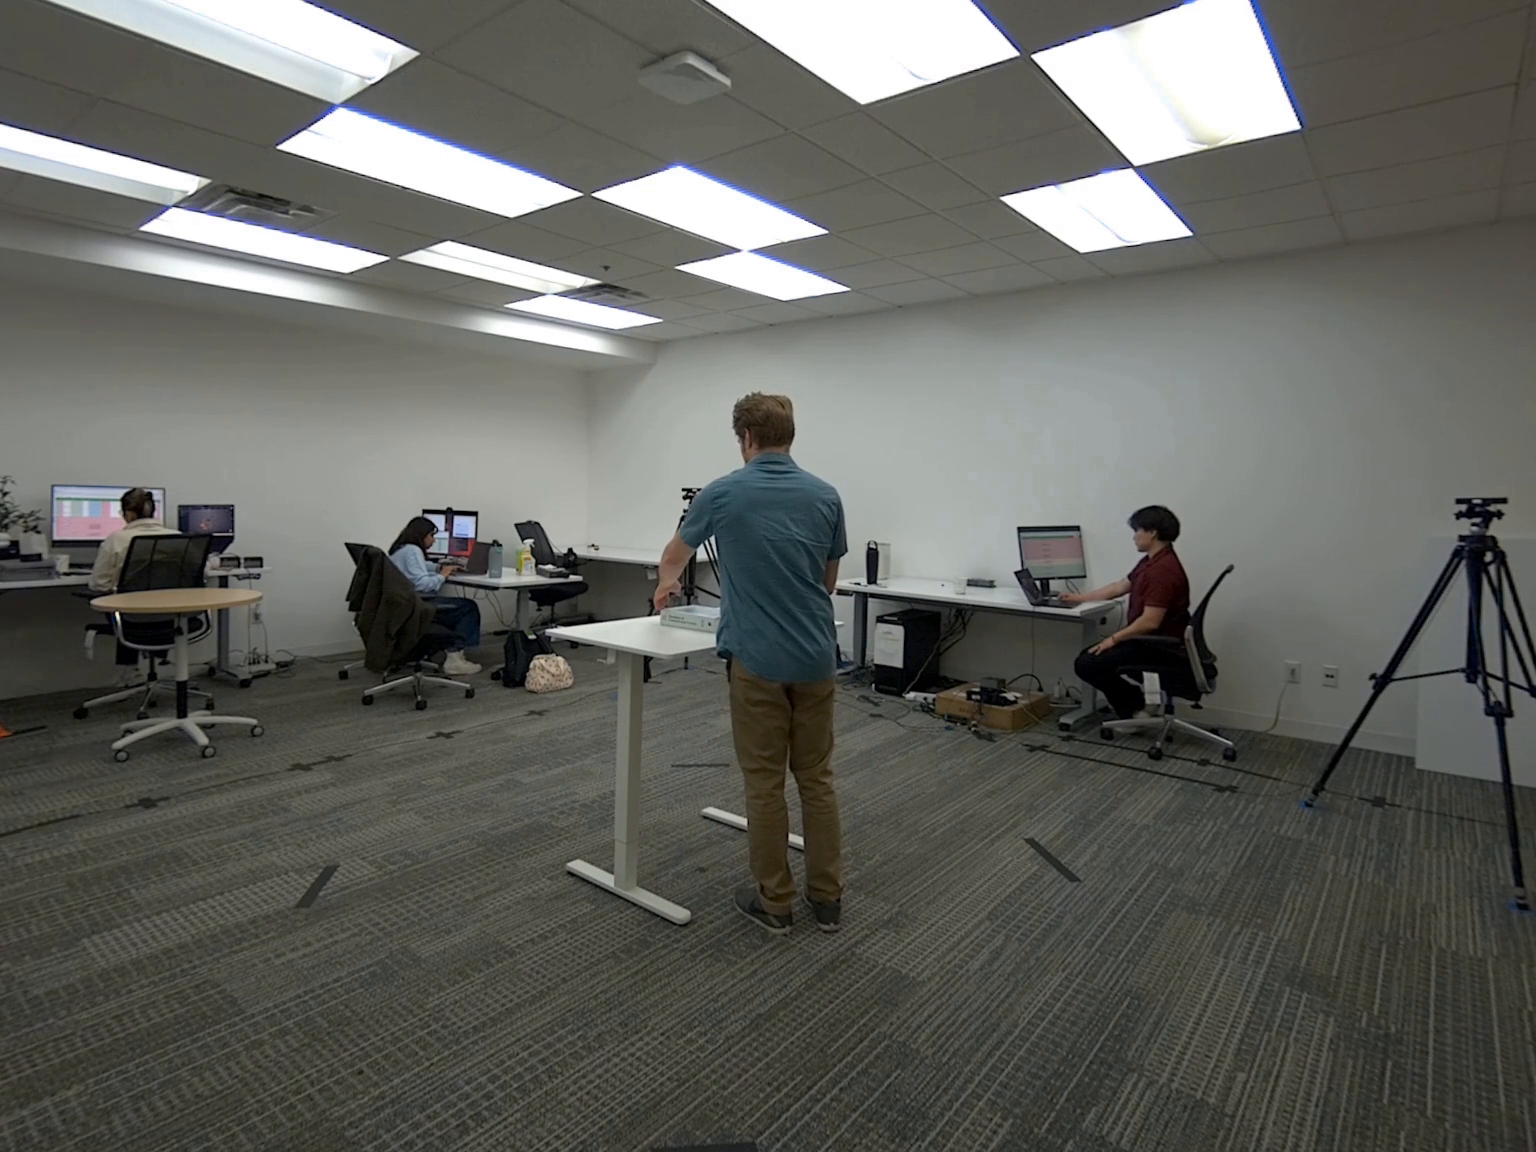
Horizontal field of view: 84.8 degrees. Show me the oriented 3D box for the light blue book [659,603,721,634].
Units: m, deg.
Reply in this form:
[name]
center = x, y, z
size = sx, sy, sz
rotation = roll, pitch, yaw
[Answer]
[light blue book]
center = -0.247, 0.155, 3.138
size = 0.270, 0.059, 0.186
rotation = 5, 7, 37
